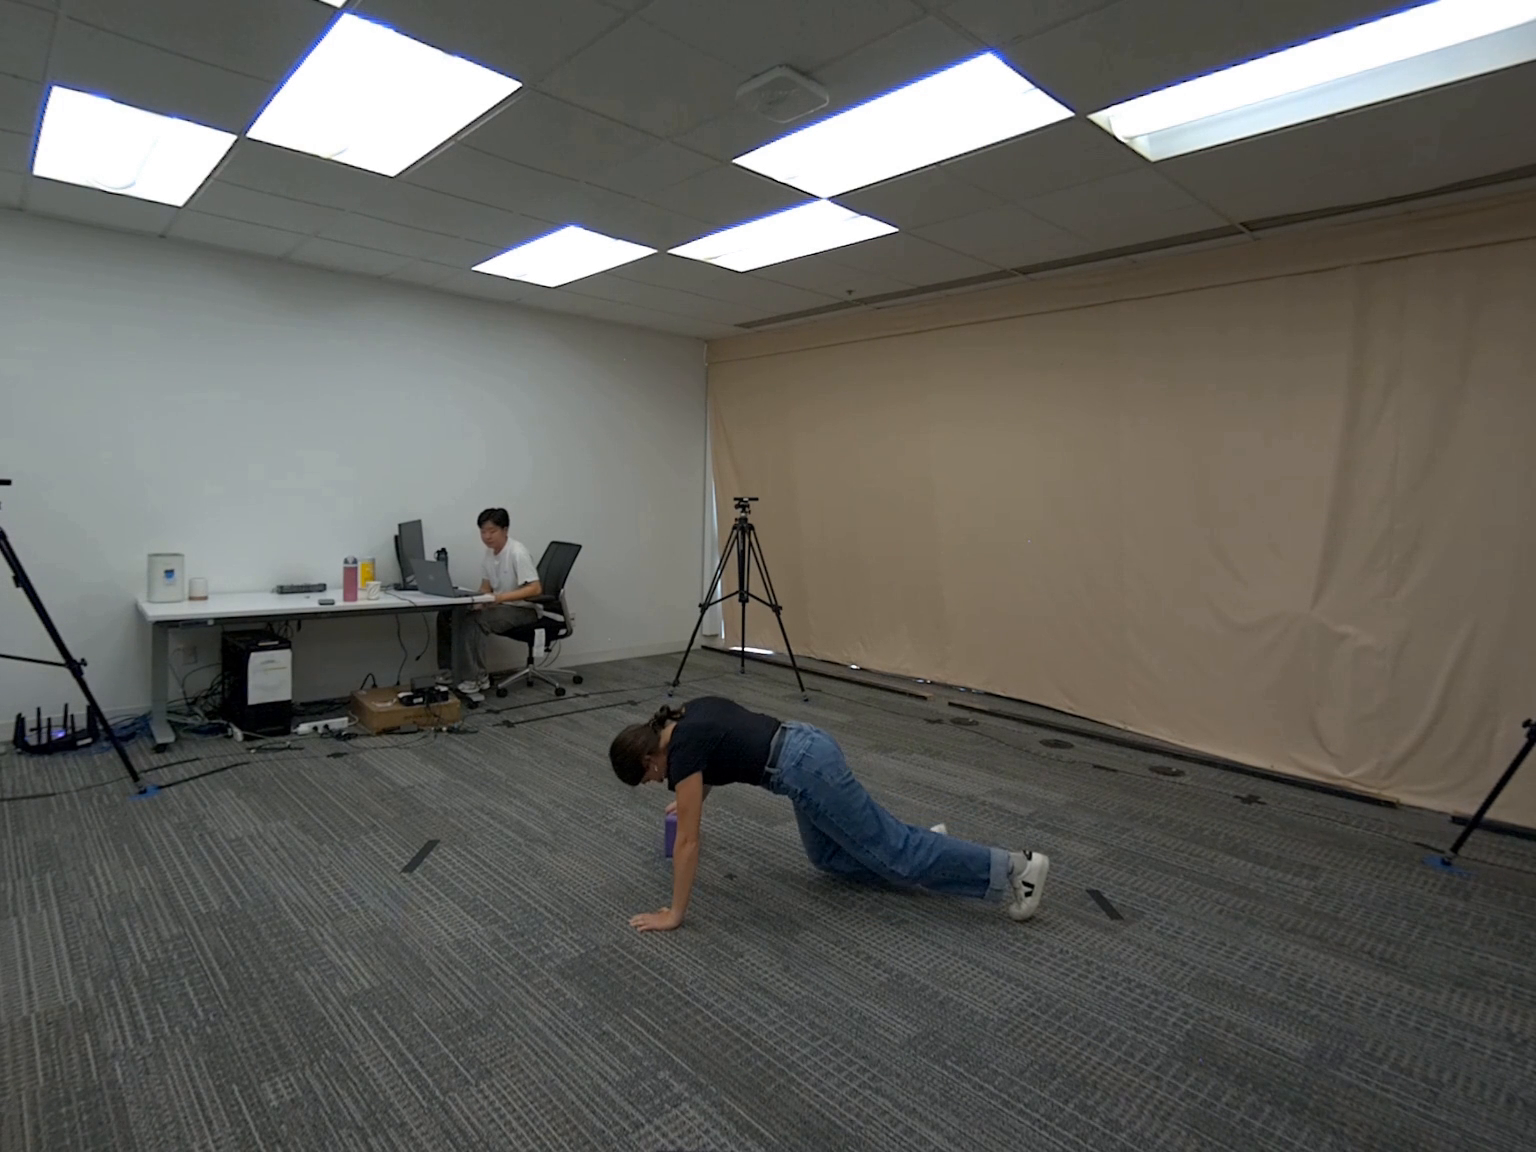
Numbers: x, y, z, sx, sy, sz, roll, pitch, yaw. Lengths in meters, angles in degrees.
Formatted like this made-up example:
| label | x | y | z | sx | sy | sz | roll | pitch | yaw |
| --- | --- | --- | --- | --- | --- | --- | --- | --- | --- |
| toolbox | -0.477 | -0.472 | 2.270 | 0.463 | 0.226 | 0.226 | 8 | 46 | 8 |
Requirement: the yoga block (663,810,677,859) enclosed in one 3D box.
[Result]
| label | x | y | z | sx | sy | sz | roll | pitch | yaw |
| --- | --- | --- | --- | --- | --- | --- | --- | --- | --- |
| yoga block | -0.357 | 1.014 | 3.350 | 0.077 | 0.148 | 0.229 | 3 | 5 | 5 |
